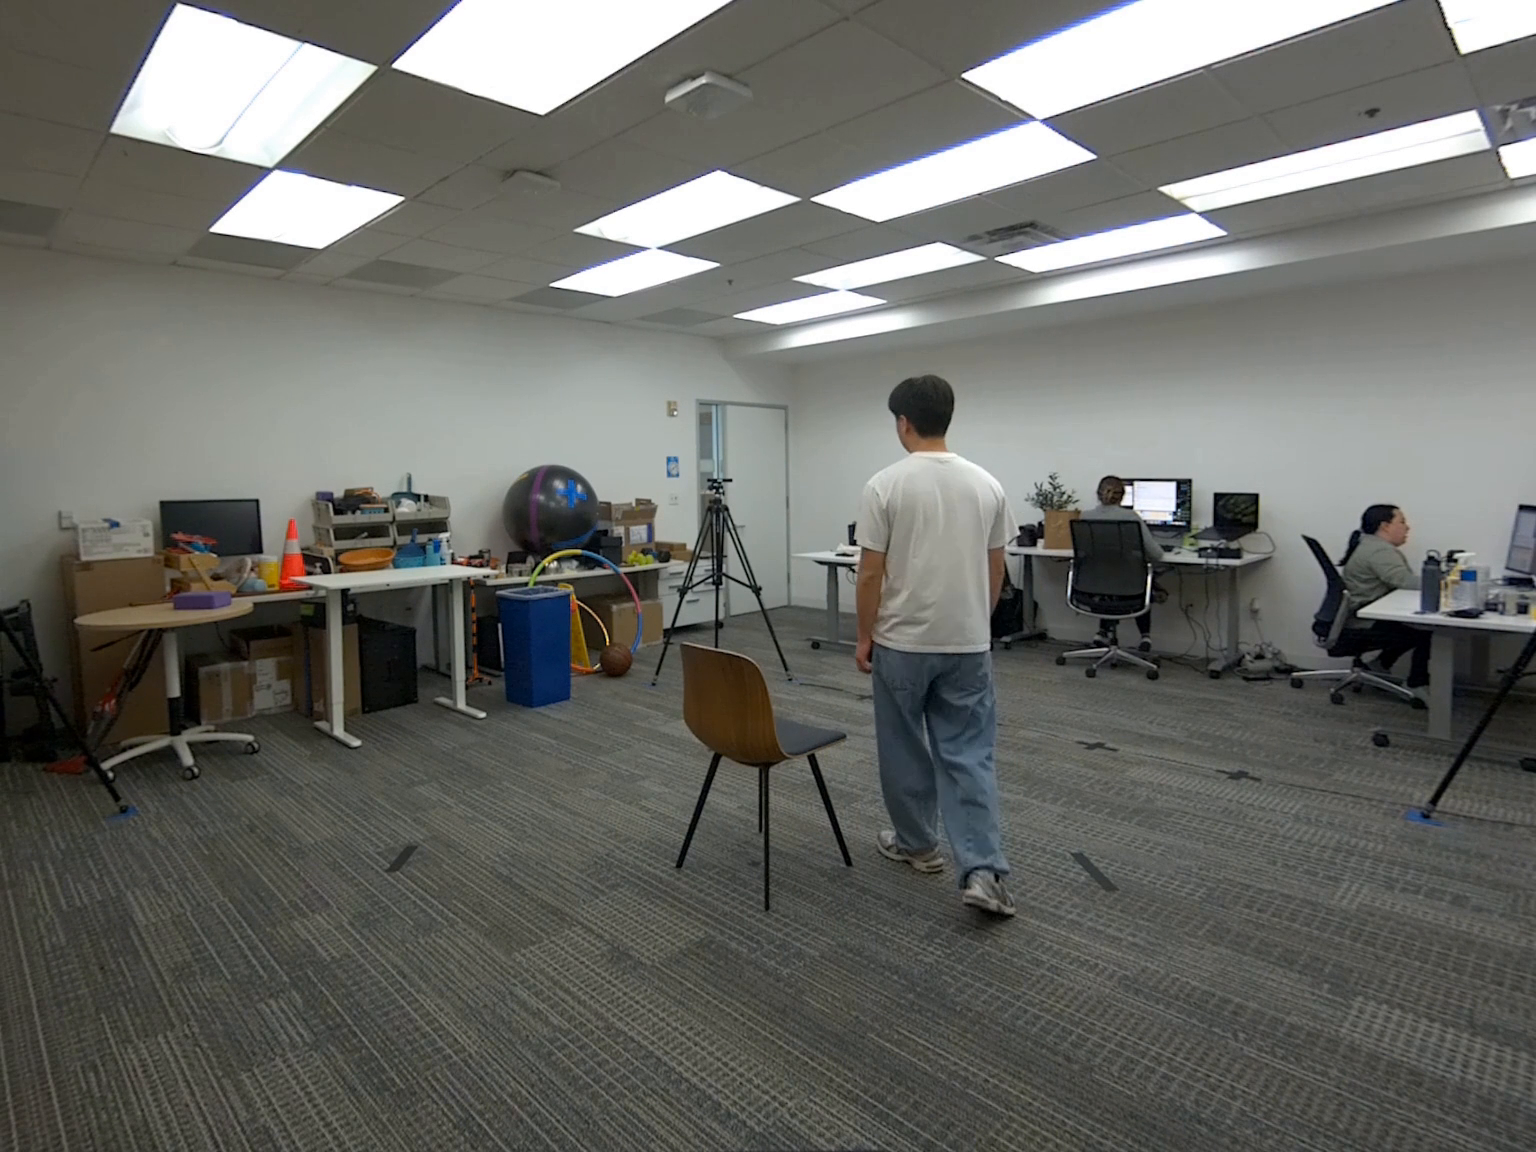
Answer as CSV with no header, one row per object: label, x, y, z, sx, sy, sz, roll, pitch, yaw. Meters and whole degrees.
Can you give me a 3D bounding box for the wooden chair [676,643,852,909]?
wooden chair,-0.010,0.623,3.048,0.493,0.871,0.511,3,10,44
